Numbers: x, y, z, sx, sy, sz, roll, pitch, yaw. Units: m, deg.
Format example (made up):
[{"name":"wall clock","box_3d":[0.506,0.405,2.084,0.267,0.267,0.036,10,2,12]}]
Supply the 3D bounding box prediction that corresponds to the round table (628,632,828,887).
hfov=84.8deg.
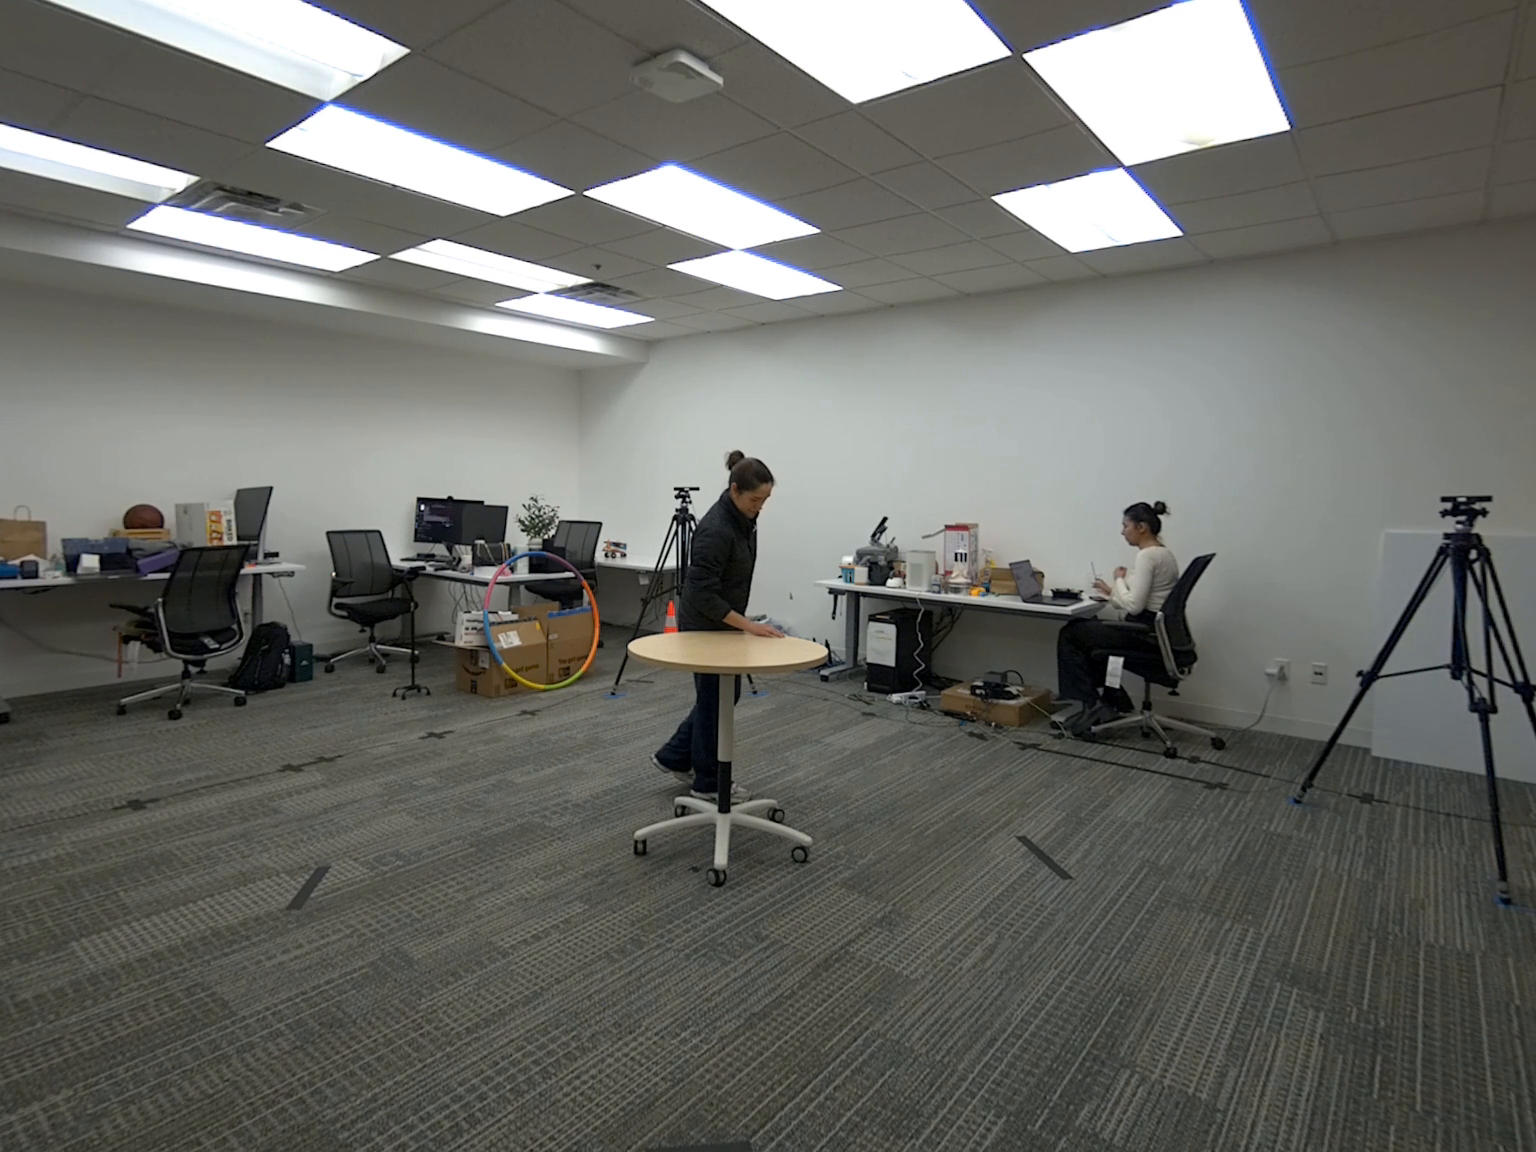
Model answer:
[{"name":"round table","box_3d":[-0.139,0.656,3.282,0.784,0.784,0.789,1,4,-2]}]
